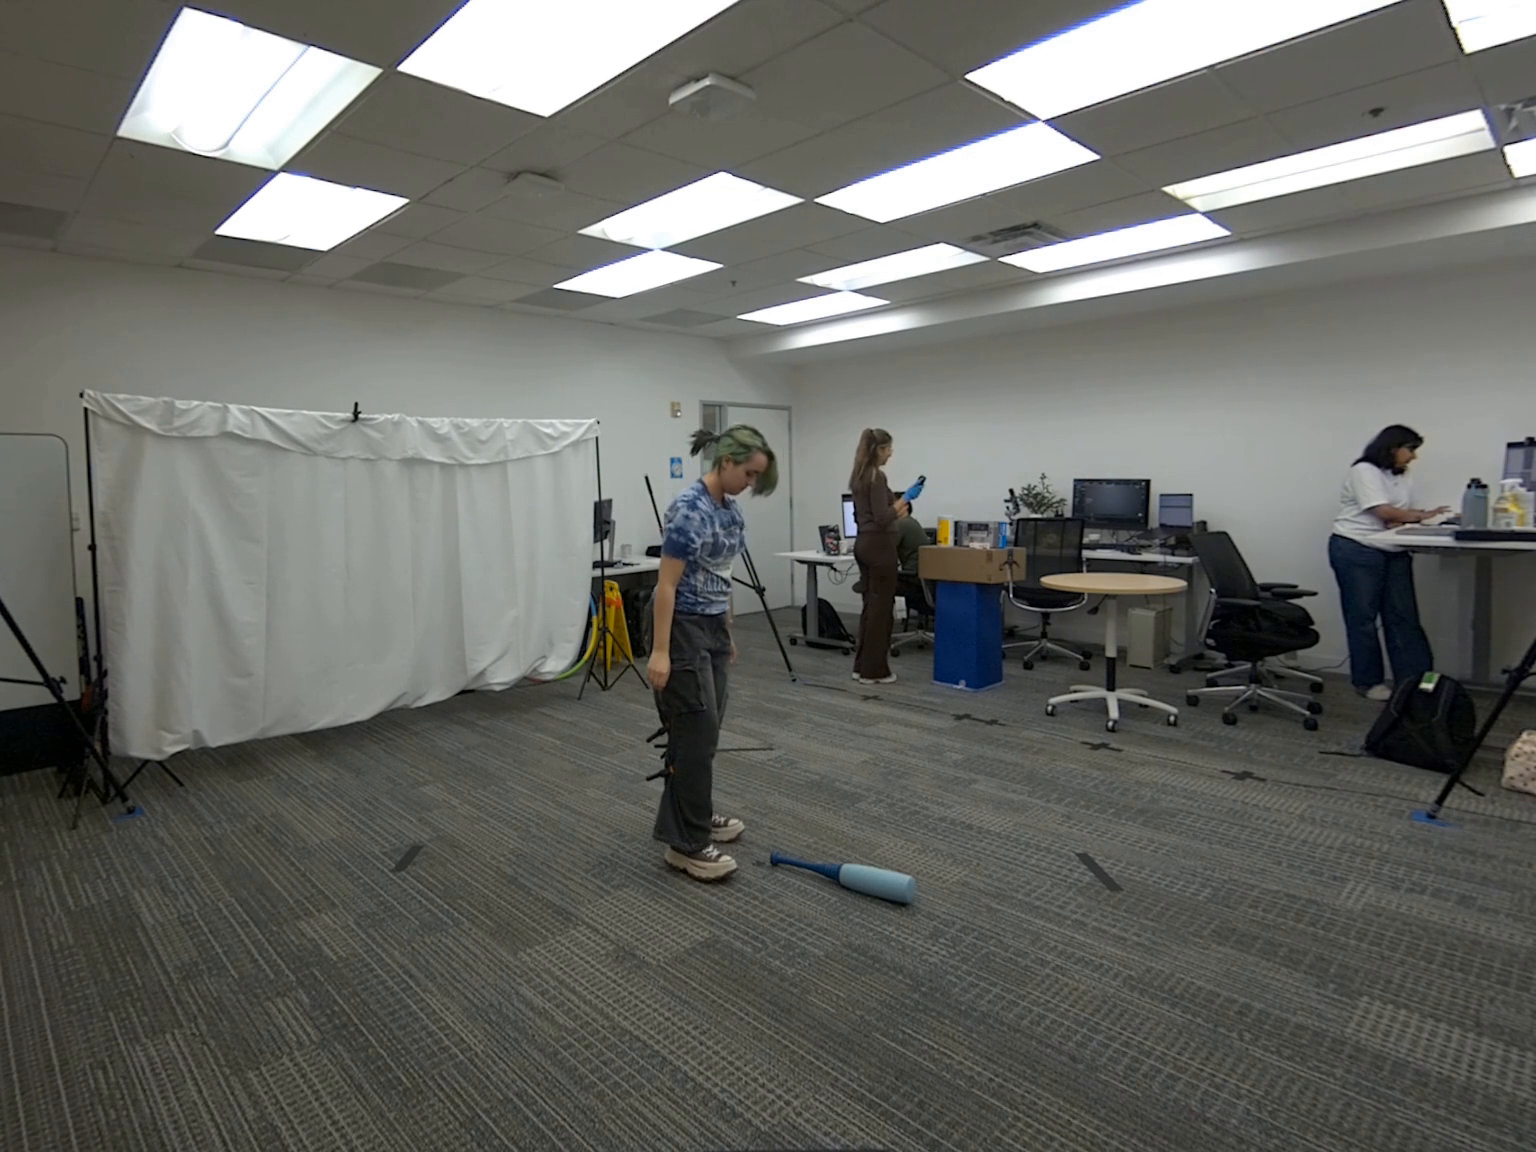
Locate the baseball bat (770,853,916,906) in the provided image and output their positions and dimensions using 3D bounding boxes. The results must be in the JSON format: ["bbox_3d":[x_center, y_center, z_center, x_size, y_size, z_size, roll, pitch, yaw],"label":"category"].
[{"bbox_3d":[0.246,1.030,2.941,0.558,0.089,0.087,0,4,35],"label":"baseball bat"}]
